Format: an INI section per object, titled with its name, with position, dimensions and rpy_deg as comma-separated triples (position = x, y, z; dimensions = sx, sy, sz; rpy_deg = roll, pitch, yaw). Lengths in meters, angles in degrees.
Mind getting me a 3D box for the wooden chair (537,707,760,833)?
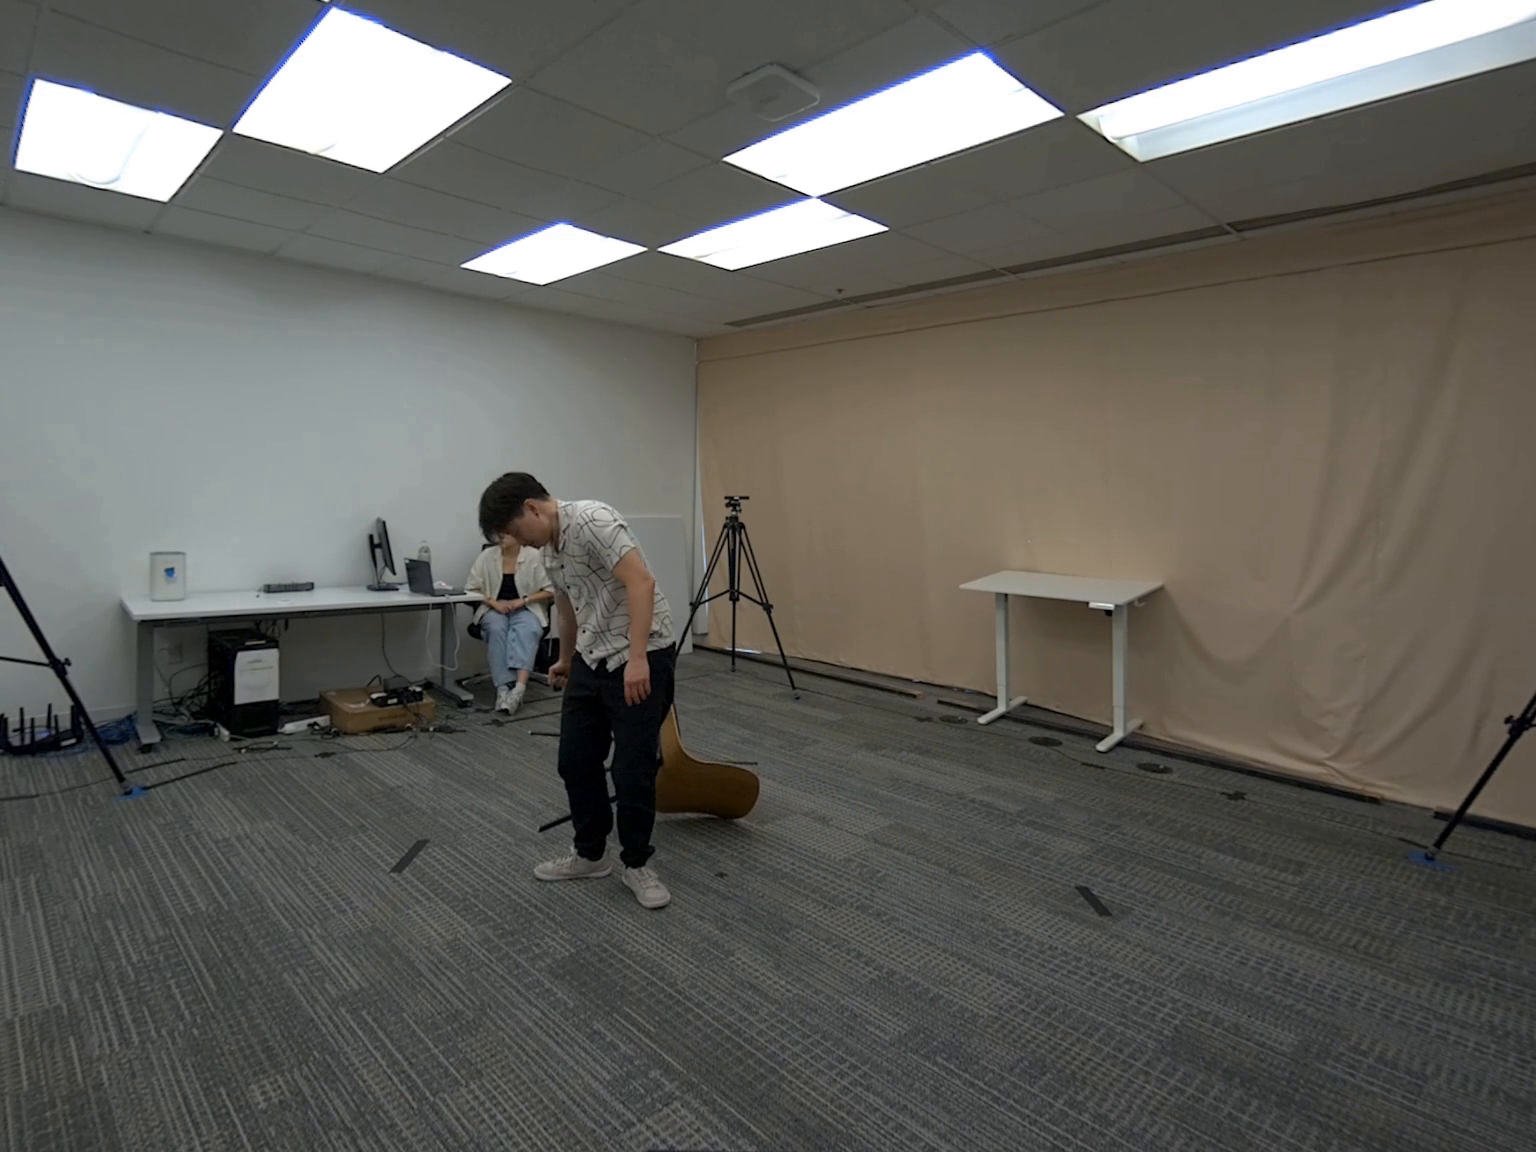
[wooden chair]
position = -0.516, 0.738, 3.538
dimensions = 0.861, 0.537, 0.474
rpy_deg = 8, -45, -23
